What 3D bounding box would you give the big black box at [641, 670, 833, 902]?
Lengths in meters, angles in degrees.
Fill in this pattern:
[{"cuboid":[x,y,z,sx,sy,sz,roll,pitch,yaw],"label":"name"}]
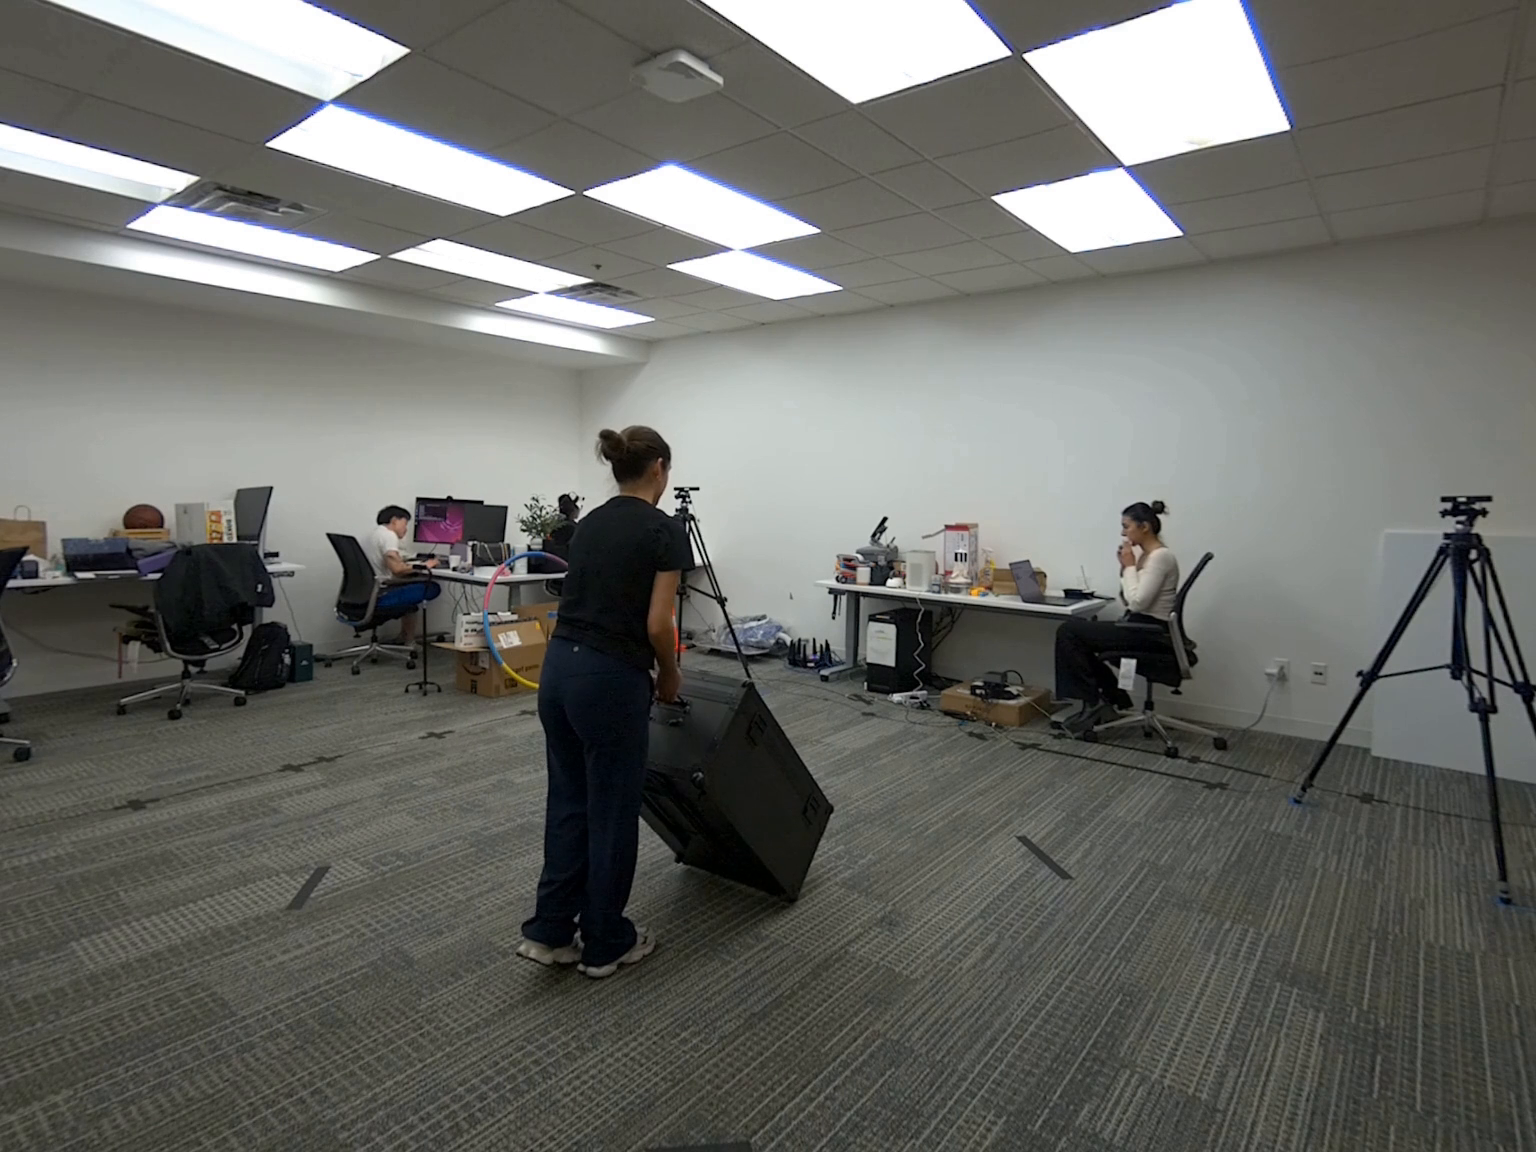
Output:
[{"cuboid":[-0.149,0.707,2.866,0.538,0.399,0.828,4,-40,35],"label":"big black box"}]
